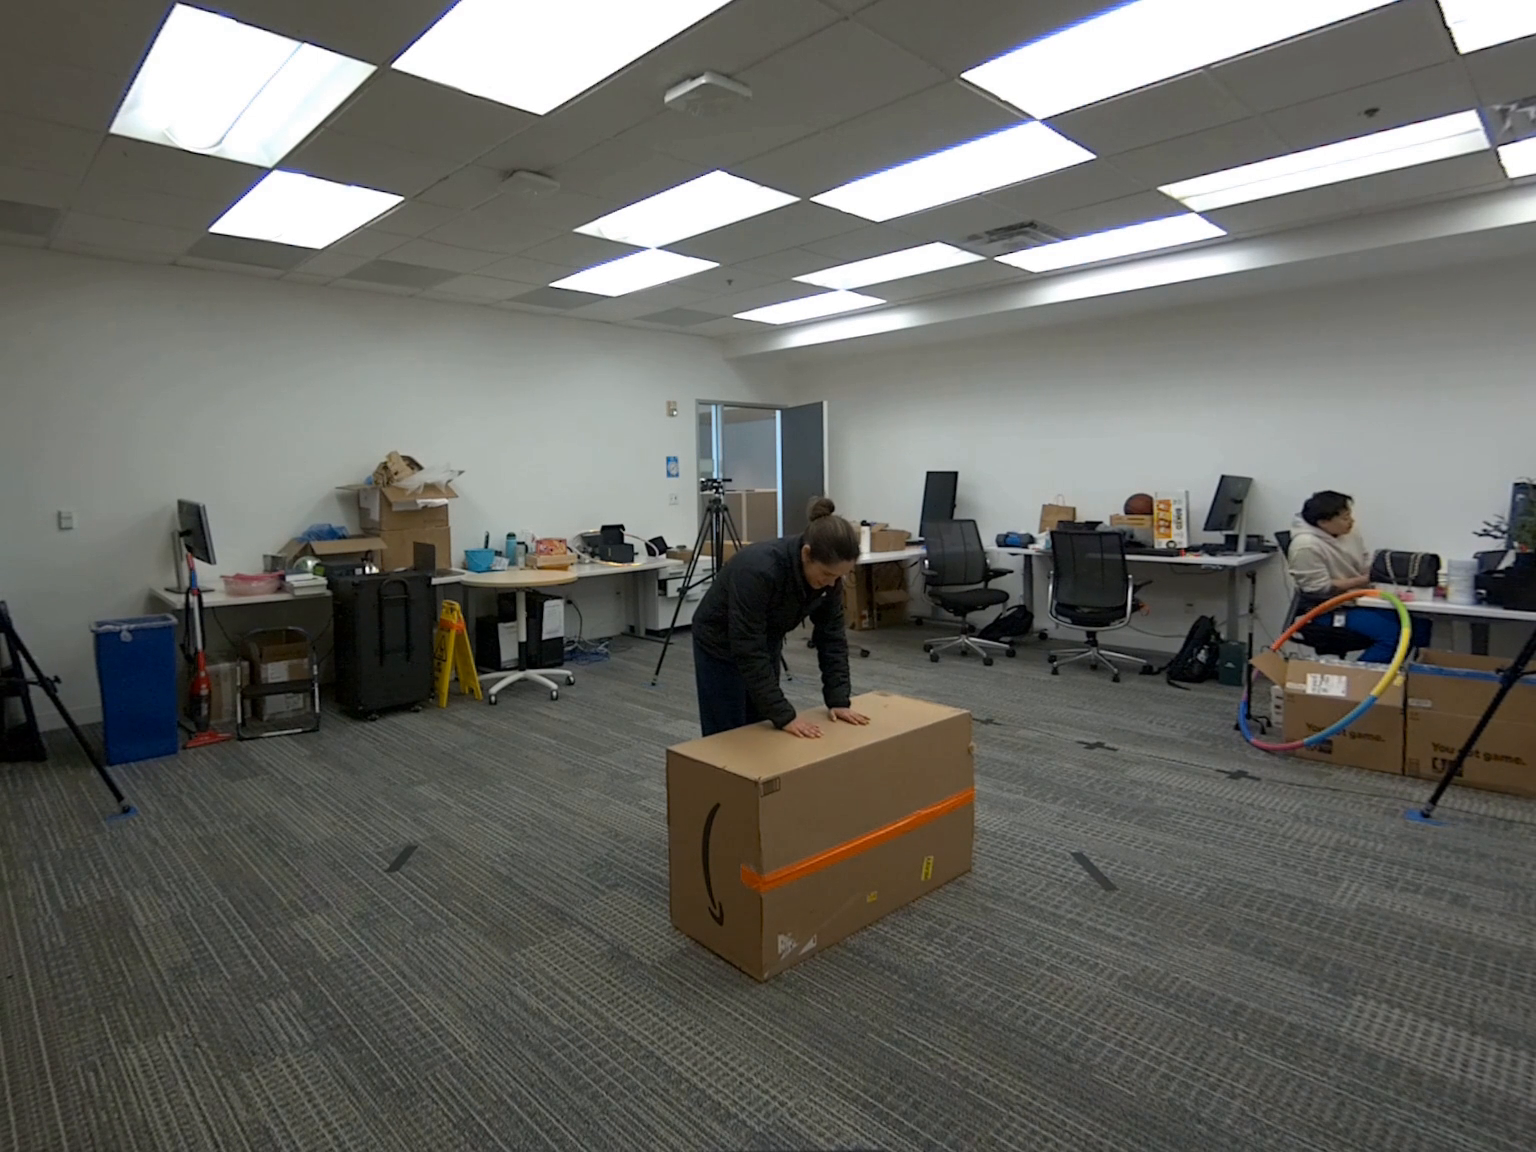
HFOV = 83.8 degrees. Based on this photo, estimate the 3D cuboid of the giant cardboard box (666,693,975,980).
[{"bbox_3d":[0.207,0.785,2.841,1.000,0.582,0.460,-6,6,-41],"label":"giant cardboard box"}]
